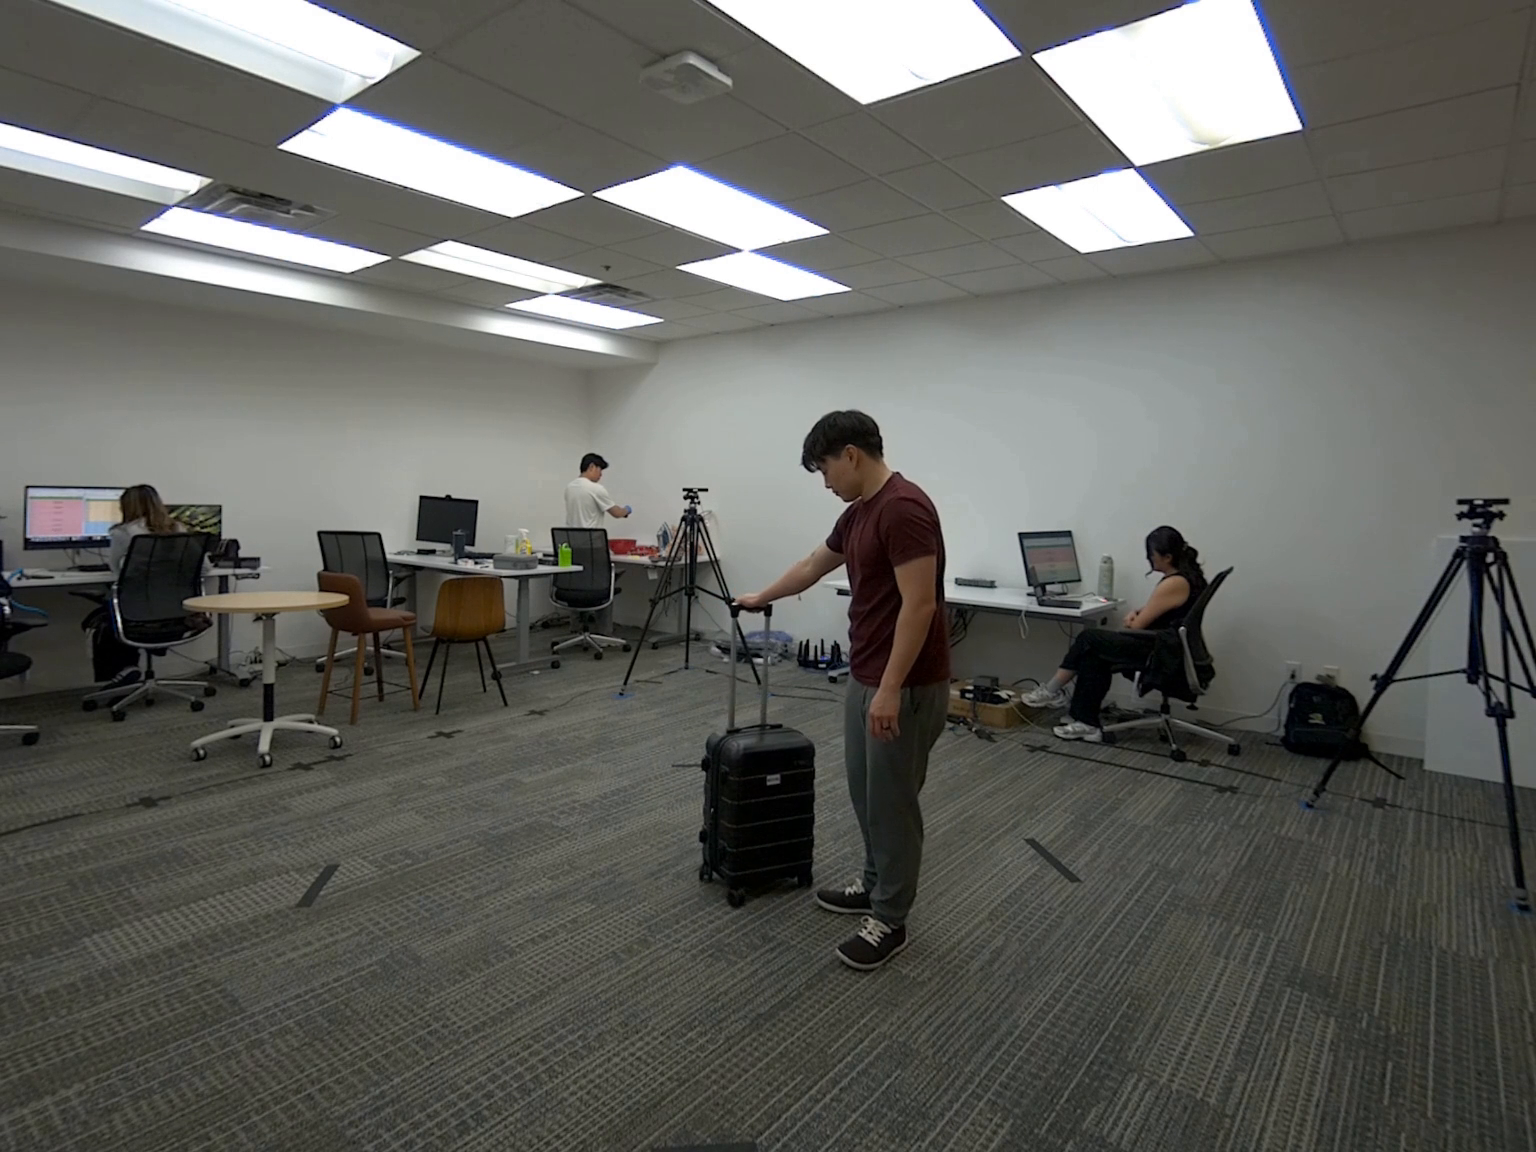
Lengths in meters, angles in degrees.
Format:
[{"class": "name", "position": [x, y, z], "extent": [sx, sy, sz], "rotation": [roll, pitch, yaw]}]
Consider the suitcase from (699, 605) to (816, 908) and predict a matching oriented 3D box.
[{"class": "suitcase", "position": [-0.033, 0.606, 2.988], "extent": [0.375, 0.975, 0.264], "rotation": [0, 4, -24]}]
